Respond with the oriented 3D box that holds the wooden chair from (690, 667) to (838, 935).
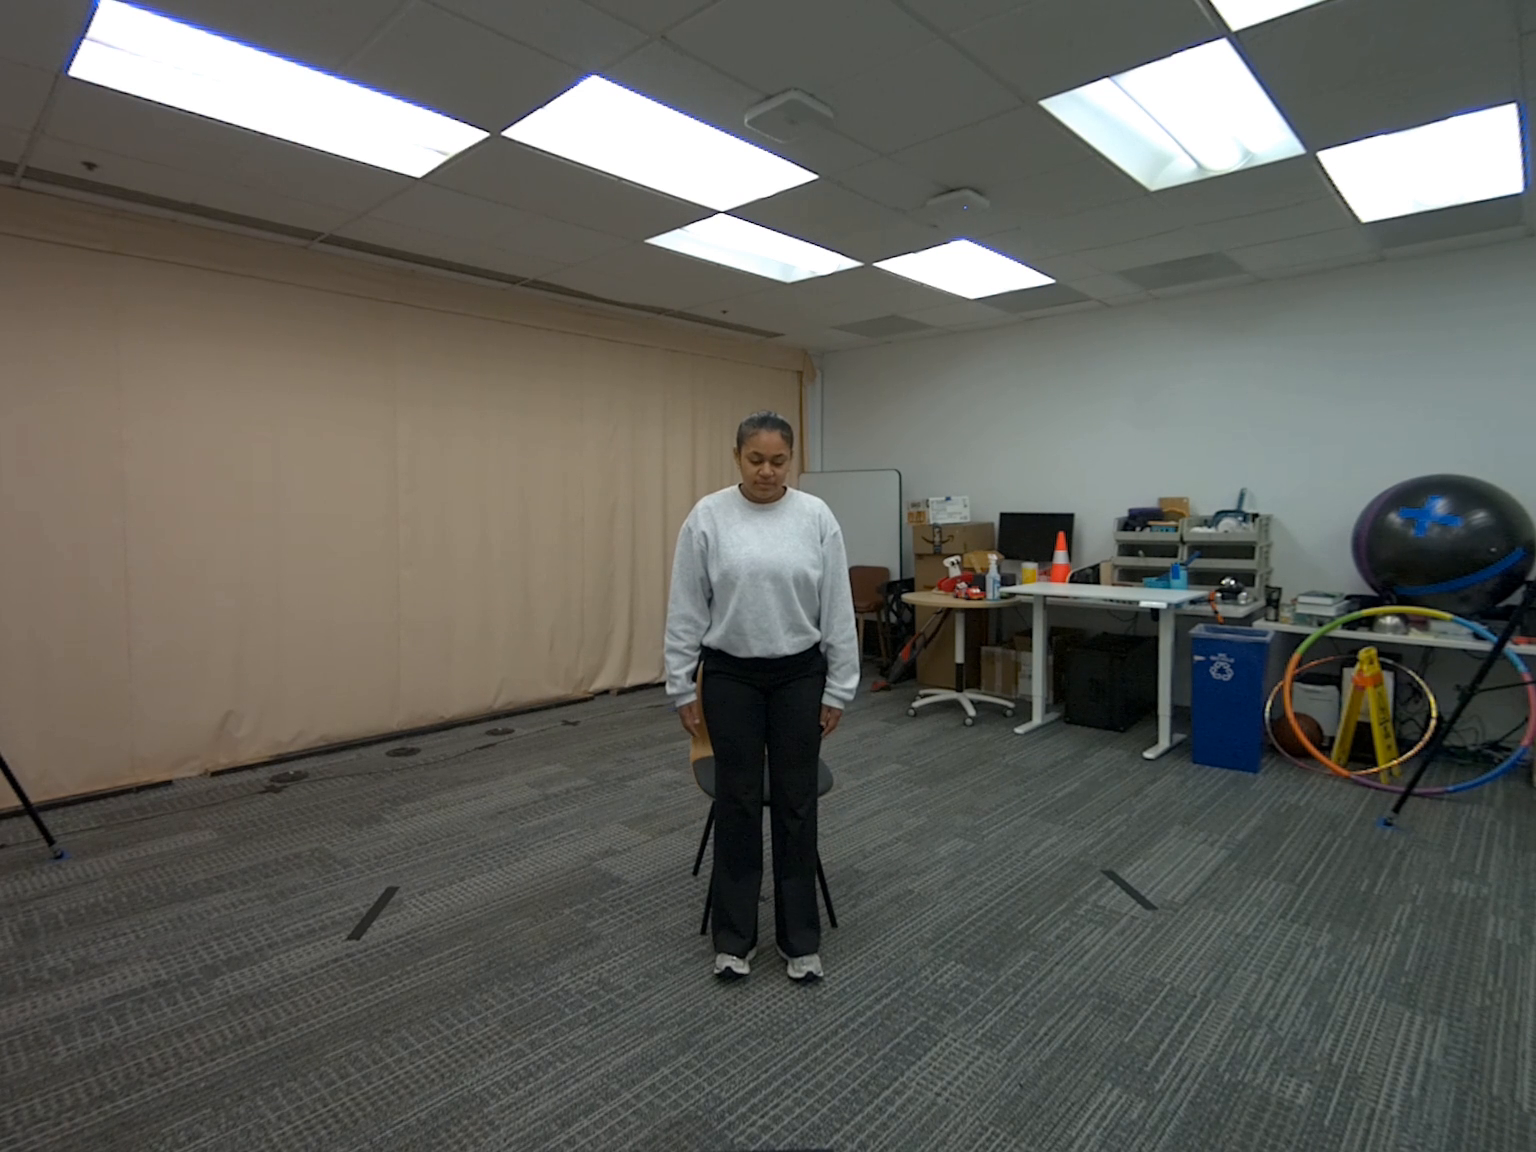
[{"bbox_3d":[-0.023,0.716,2.941,0.474,0.878,0.527,0,-1,-8],"label":"wooden chair"}]
